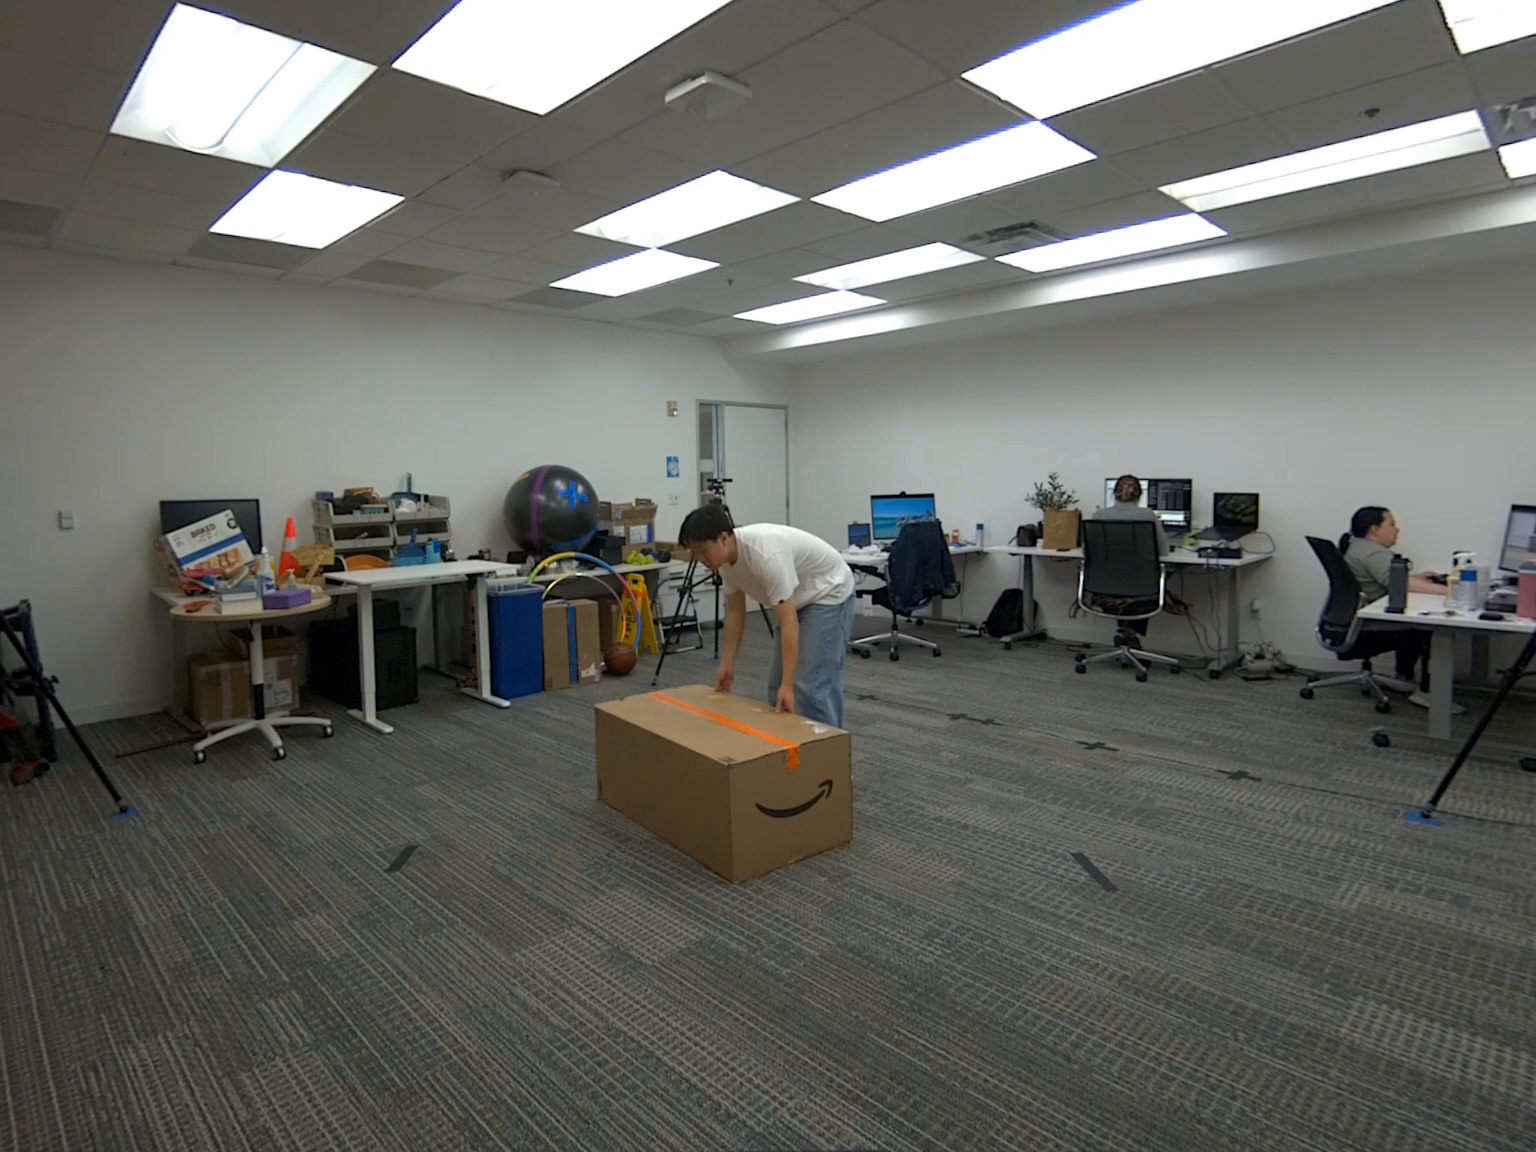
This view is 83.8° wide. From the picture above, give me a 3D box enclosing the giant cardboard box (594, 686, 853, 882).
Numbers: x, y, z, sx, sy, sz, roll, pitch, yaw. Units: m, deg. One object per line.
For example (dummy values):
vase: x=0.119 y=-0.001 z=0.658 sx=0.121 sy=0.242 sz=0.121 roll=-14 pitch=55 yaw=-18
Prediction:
giant cardboard box: x=-0.221 y=0.789 z=3.503 sx=0.563 sy=0.424 sz=1.057 roll=-5 pitch=7 yaw=-37
